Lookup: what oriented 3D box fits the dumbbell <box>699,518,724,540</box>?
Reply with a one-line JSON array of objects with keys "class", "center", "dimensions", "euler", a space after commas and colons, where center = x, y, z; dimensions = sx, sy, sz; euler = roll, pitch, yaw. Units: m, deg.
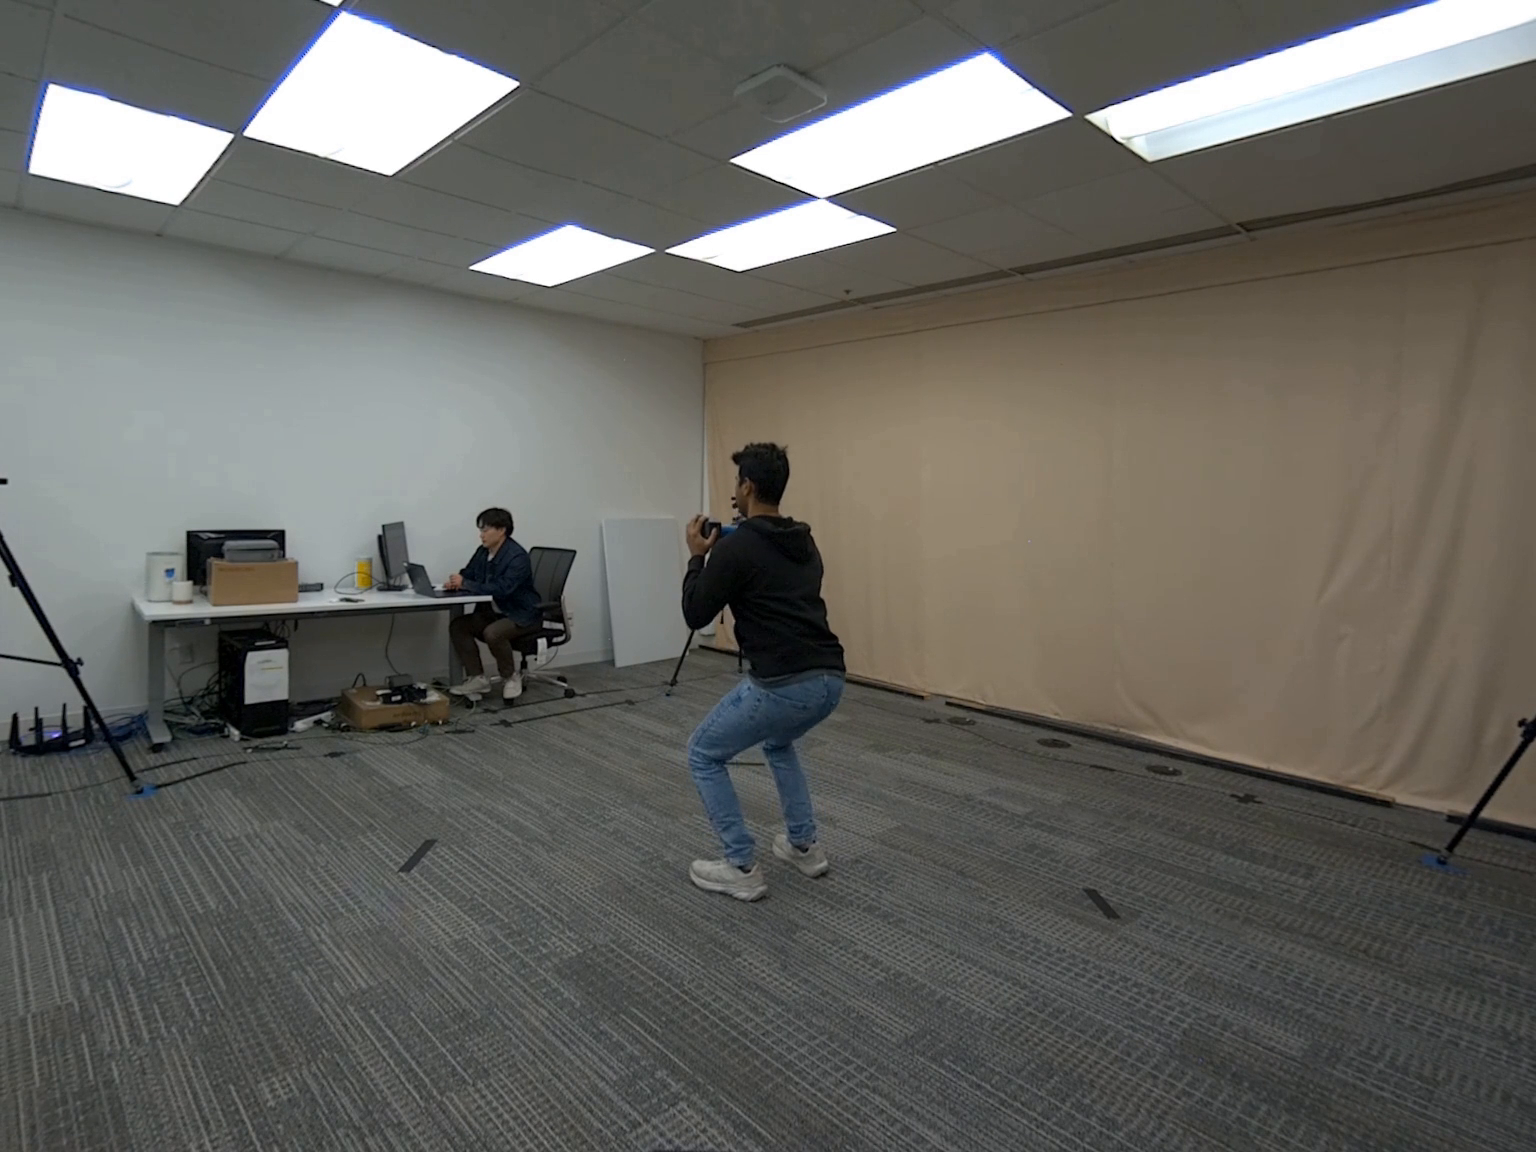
[{"class": "dumbbell", "center": [-0.149, -0.159, 3.229], "dimensions": [0.287, 0.123, 0.111], "euler": [-1, -3, -43]}]
